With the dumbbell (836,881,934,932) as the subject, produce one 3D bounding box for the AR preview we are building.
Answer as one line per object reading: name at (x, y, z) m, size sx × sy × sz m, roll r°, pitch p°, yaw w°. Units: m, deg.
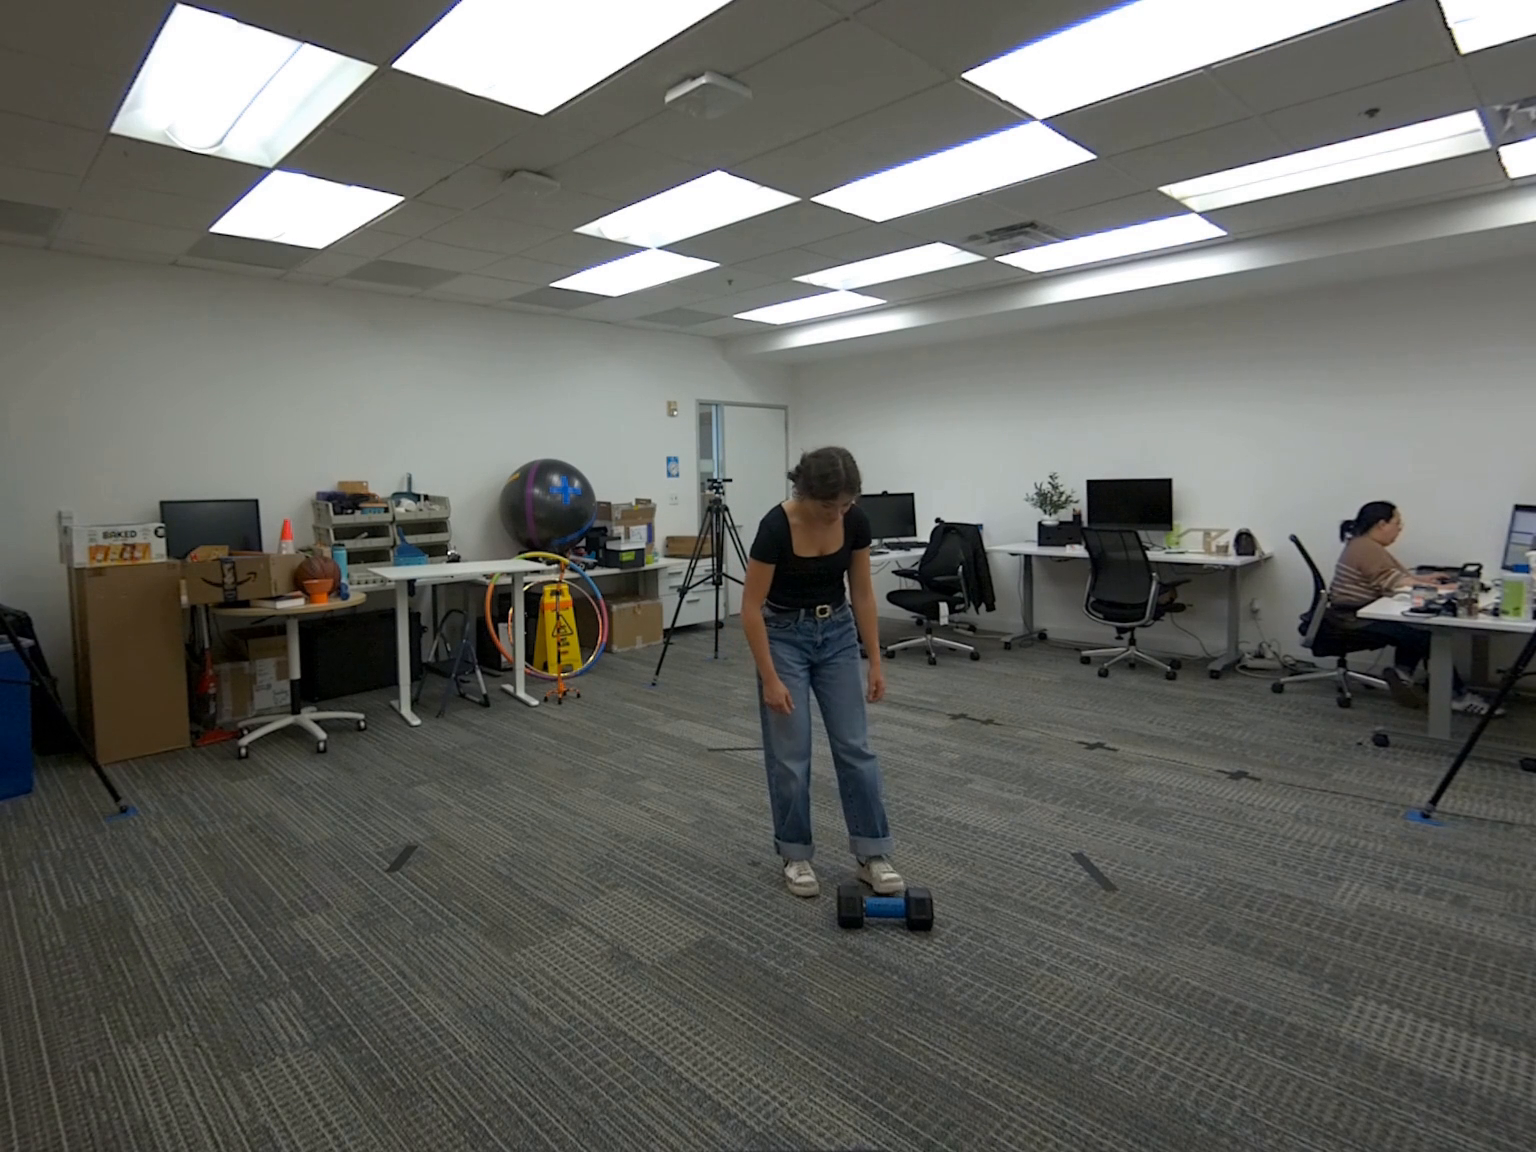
dumbbell at (0.369, 1.039, 2.663) m, size 0.295 × 0.120 × 0.111 m, roll -1°, pitch 34°, yaw 4°
